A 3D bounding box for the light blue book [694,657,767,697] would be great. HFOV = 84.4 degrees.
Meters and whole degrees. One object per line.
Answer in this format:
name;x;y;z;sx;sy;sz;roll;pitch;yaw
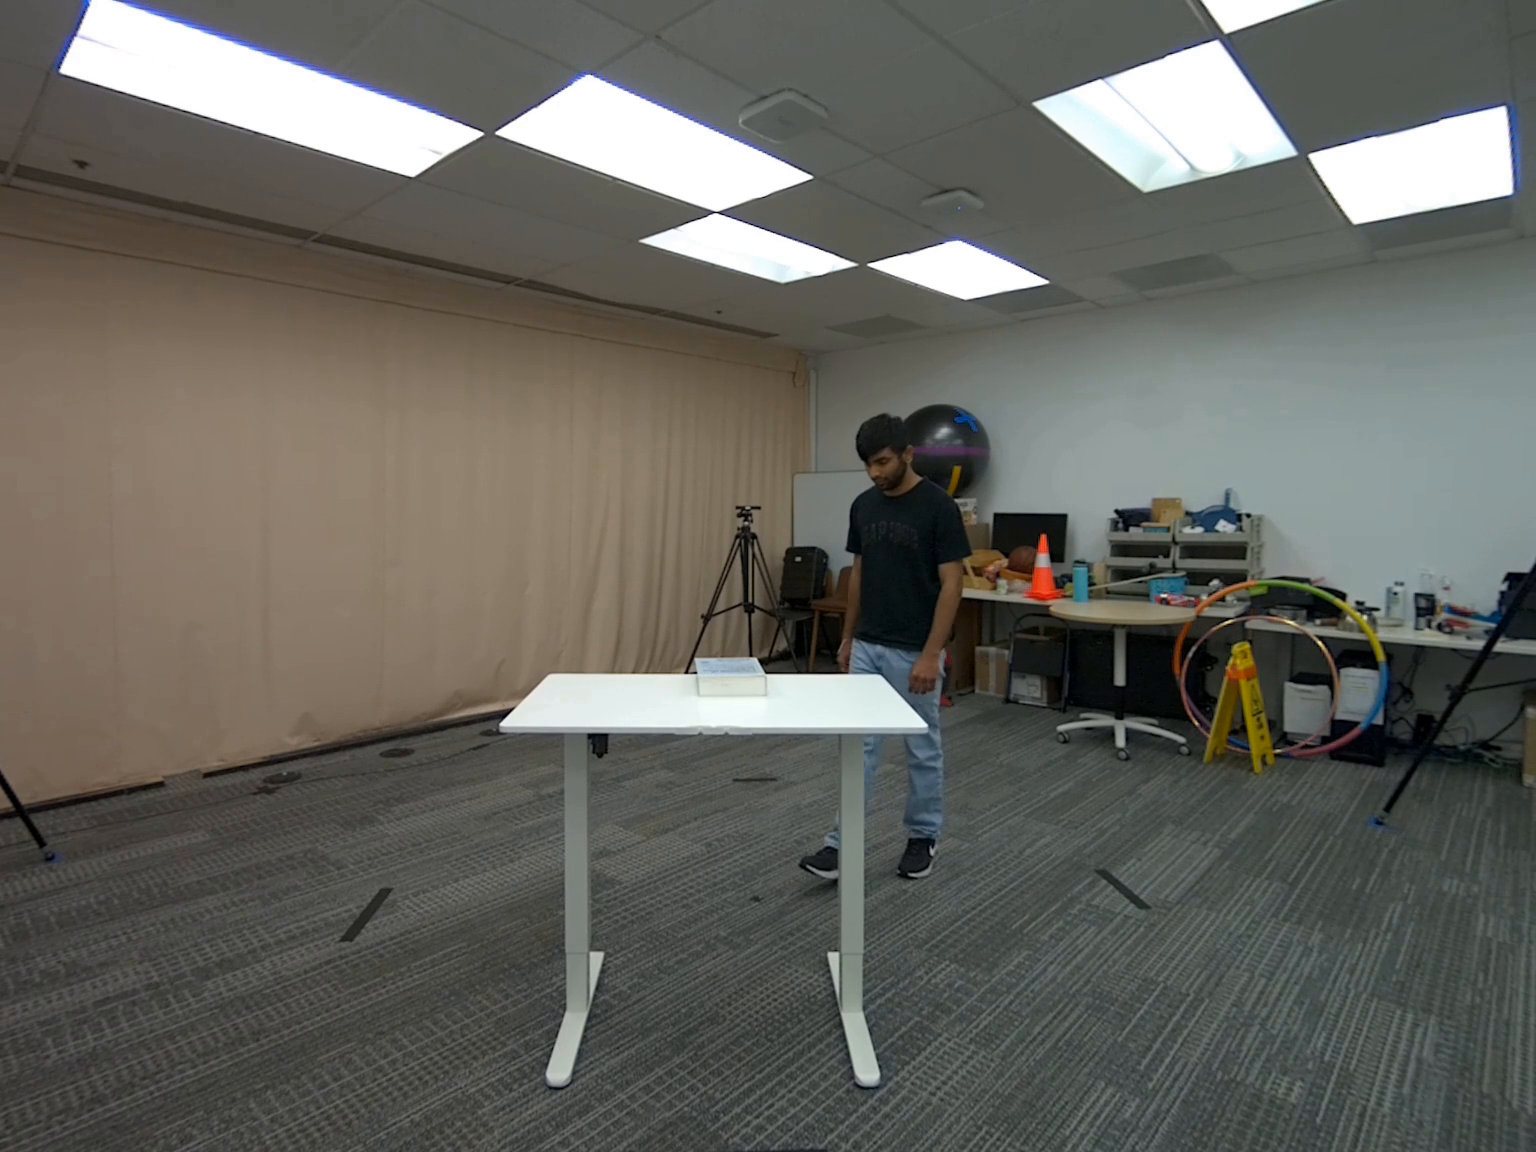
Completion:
light blue book;-0.110;0.283;2.392;0.190;0.059;0.263;0;5;-5
